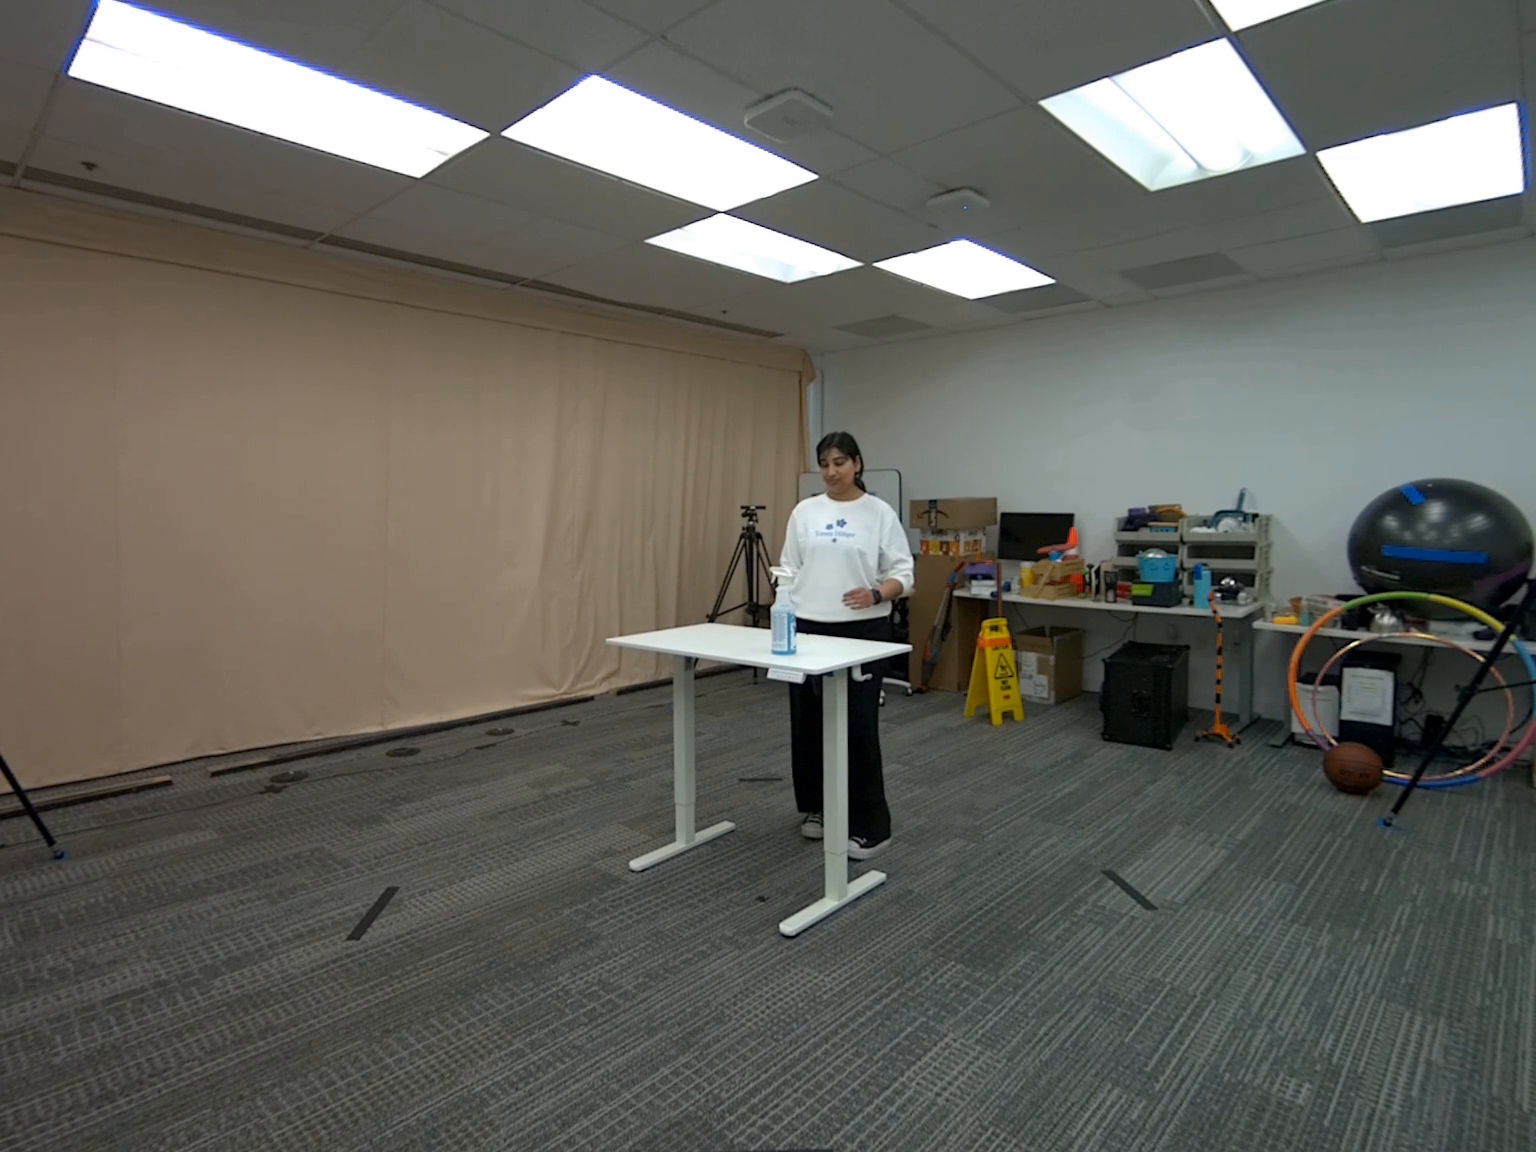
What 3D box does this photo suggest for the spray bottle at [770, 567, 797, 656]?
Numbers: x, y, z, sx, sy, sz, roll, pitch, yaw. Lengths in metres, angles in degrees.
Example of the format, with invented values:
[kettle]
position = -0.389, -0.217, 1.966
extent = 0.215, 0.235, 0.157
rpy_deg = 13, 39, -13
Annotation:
[spray bottle]
position = 0.054, 0.119, 2.892
extent = 0.085, 0.297, 0.092
rpy_deg = -2, 1, -23
